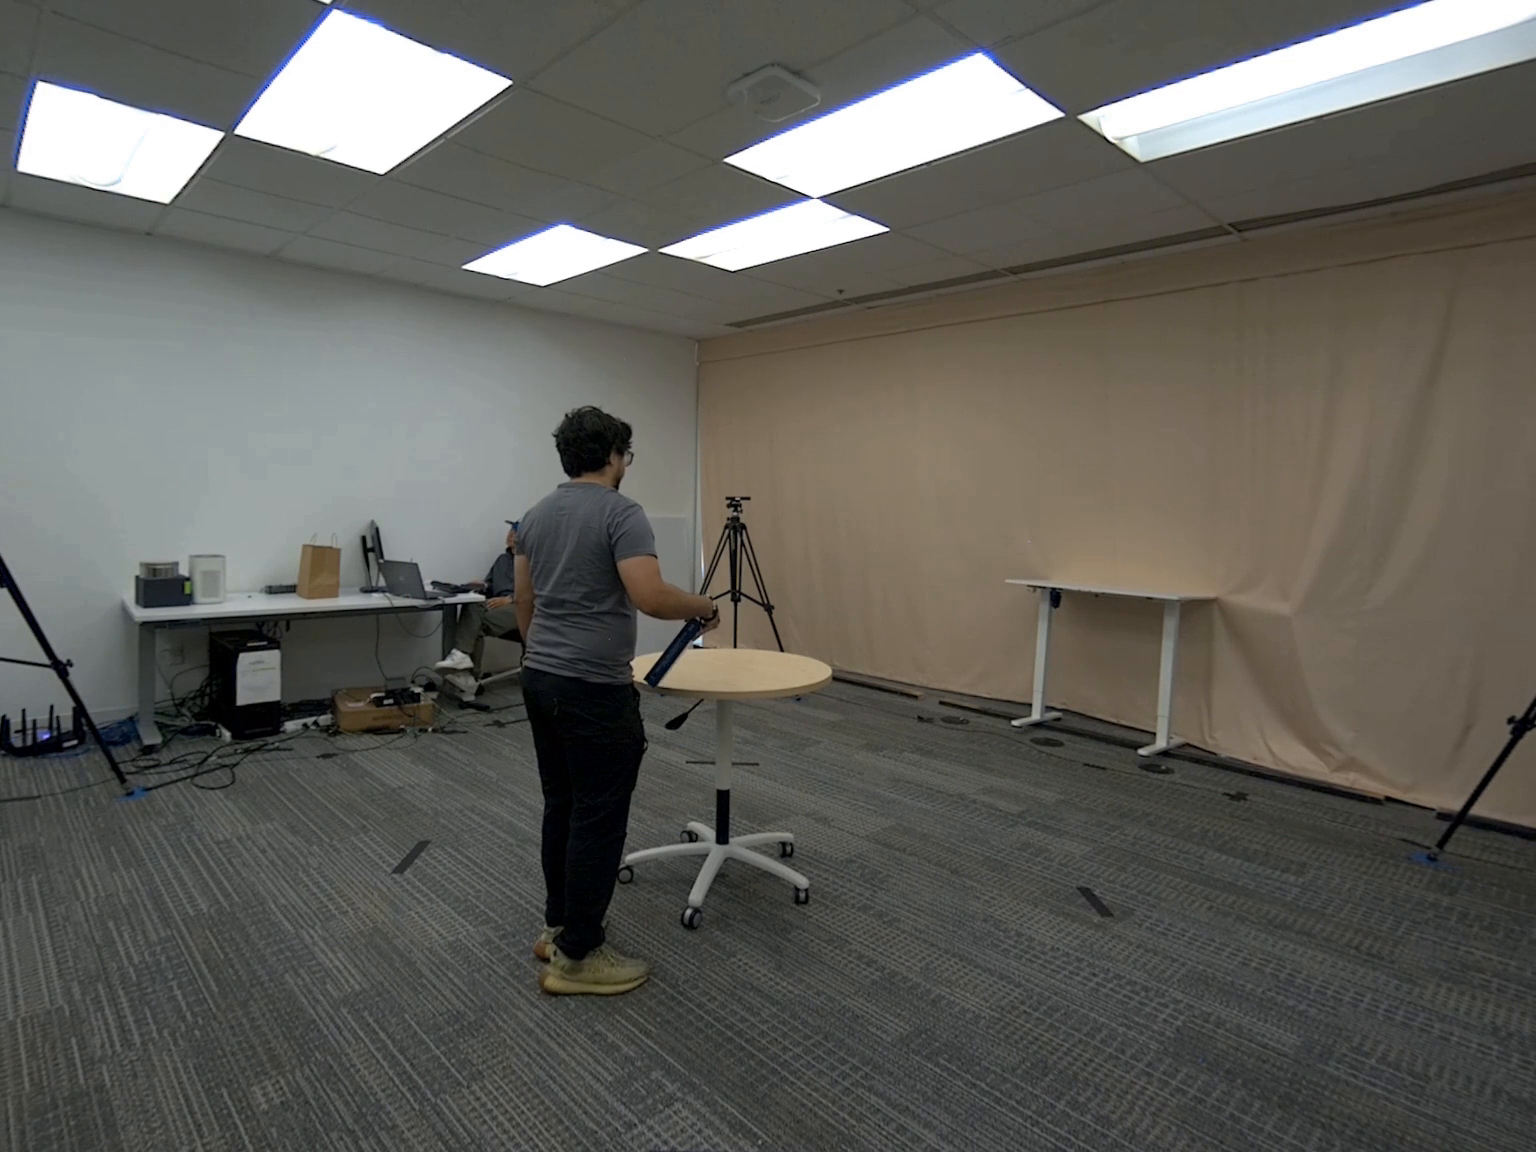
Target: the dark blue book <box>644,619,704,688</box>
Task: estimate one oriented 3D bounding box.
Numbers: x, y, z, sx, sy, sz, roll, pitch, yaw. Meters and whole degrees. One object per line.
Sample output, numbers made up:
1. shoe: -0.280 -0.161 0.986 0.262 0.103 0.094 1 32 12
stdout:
1. dark blue book: -0.283 0.225 2.583 0.045 0.245 0.163 32 8 1
